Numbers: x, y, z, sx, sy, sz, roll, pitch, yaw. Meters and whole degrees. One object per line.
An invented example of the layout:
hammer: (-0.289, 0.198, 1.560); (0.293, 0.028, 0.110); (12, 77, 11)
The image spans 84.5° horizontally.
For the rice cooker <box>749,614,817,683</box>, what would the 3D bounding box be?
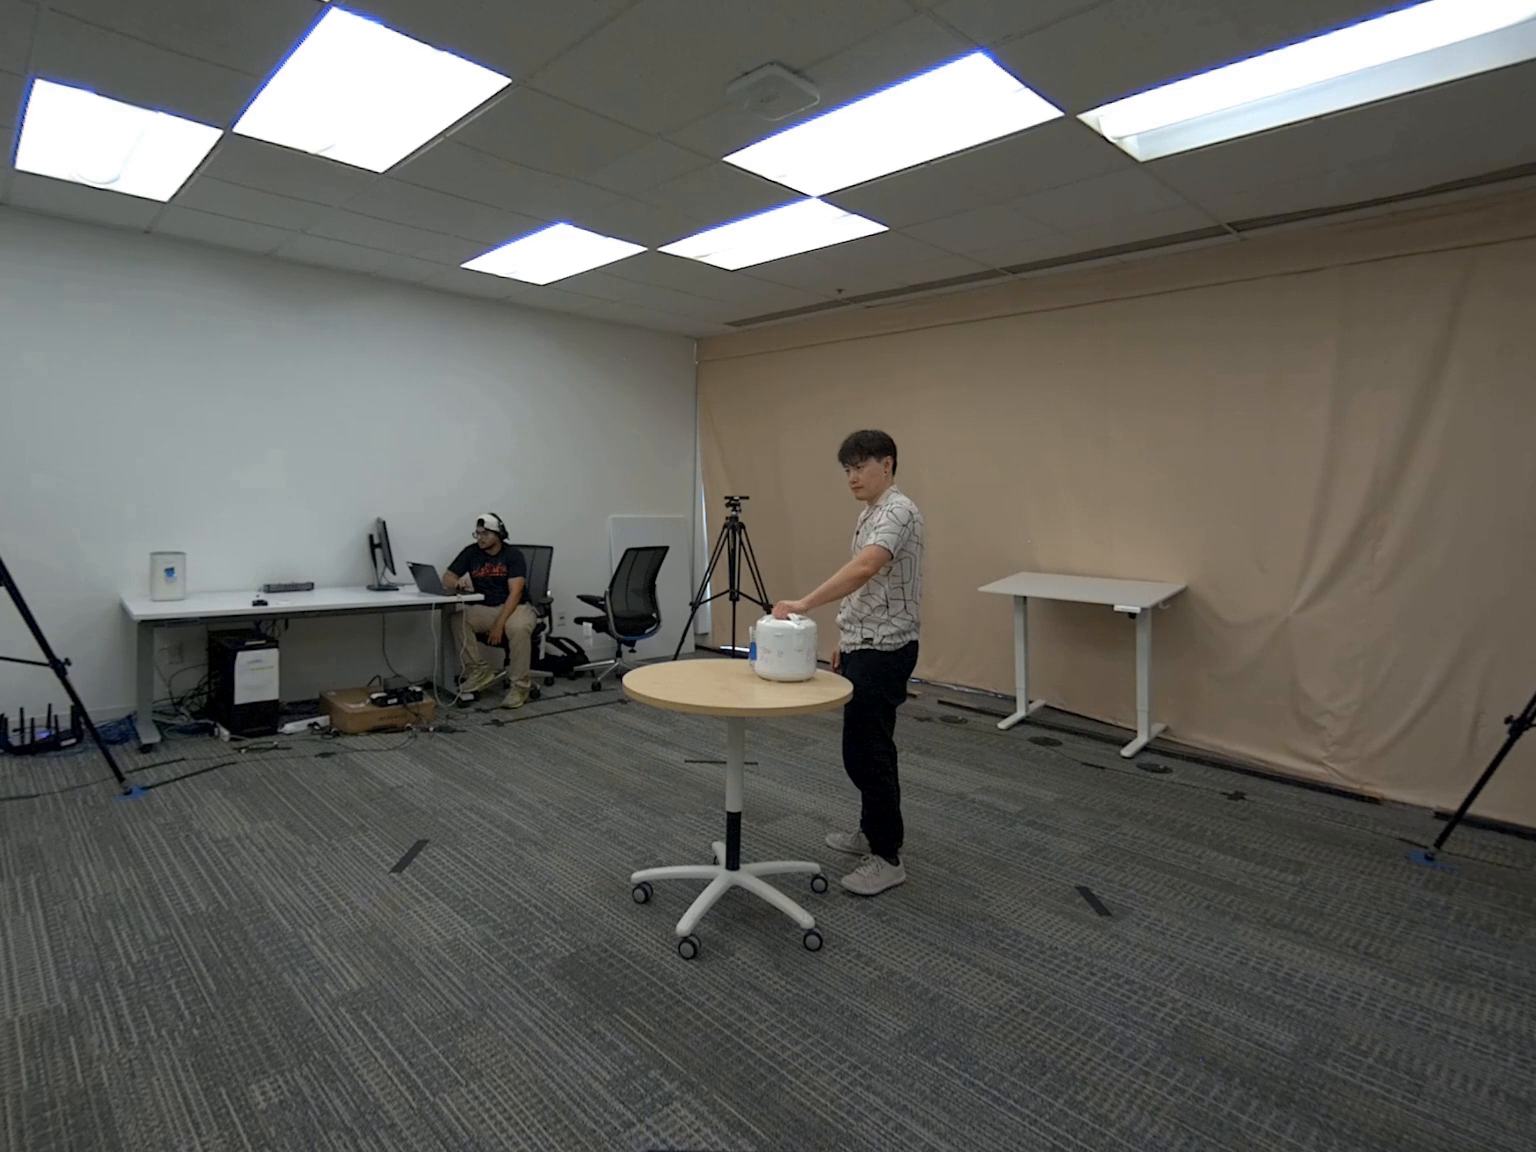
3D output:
rice cooker: (0.055, 0.234, 2.875); (0.214, 0.232, 0.225); (0, 5, -21)
